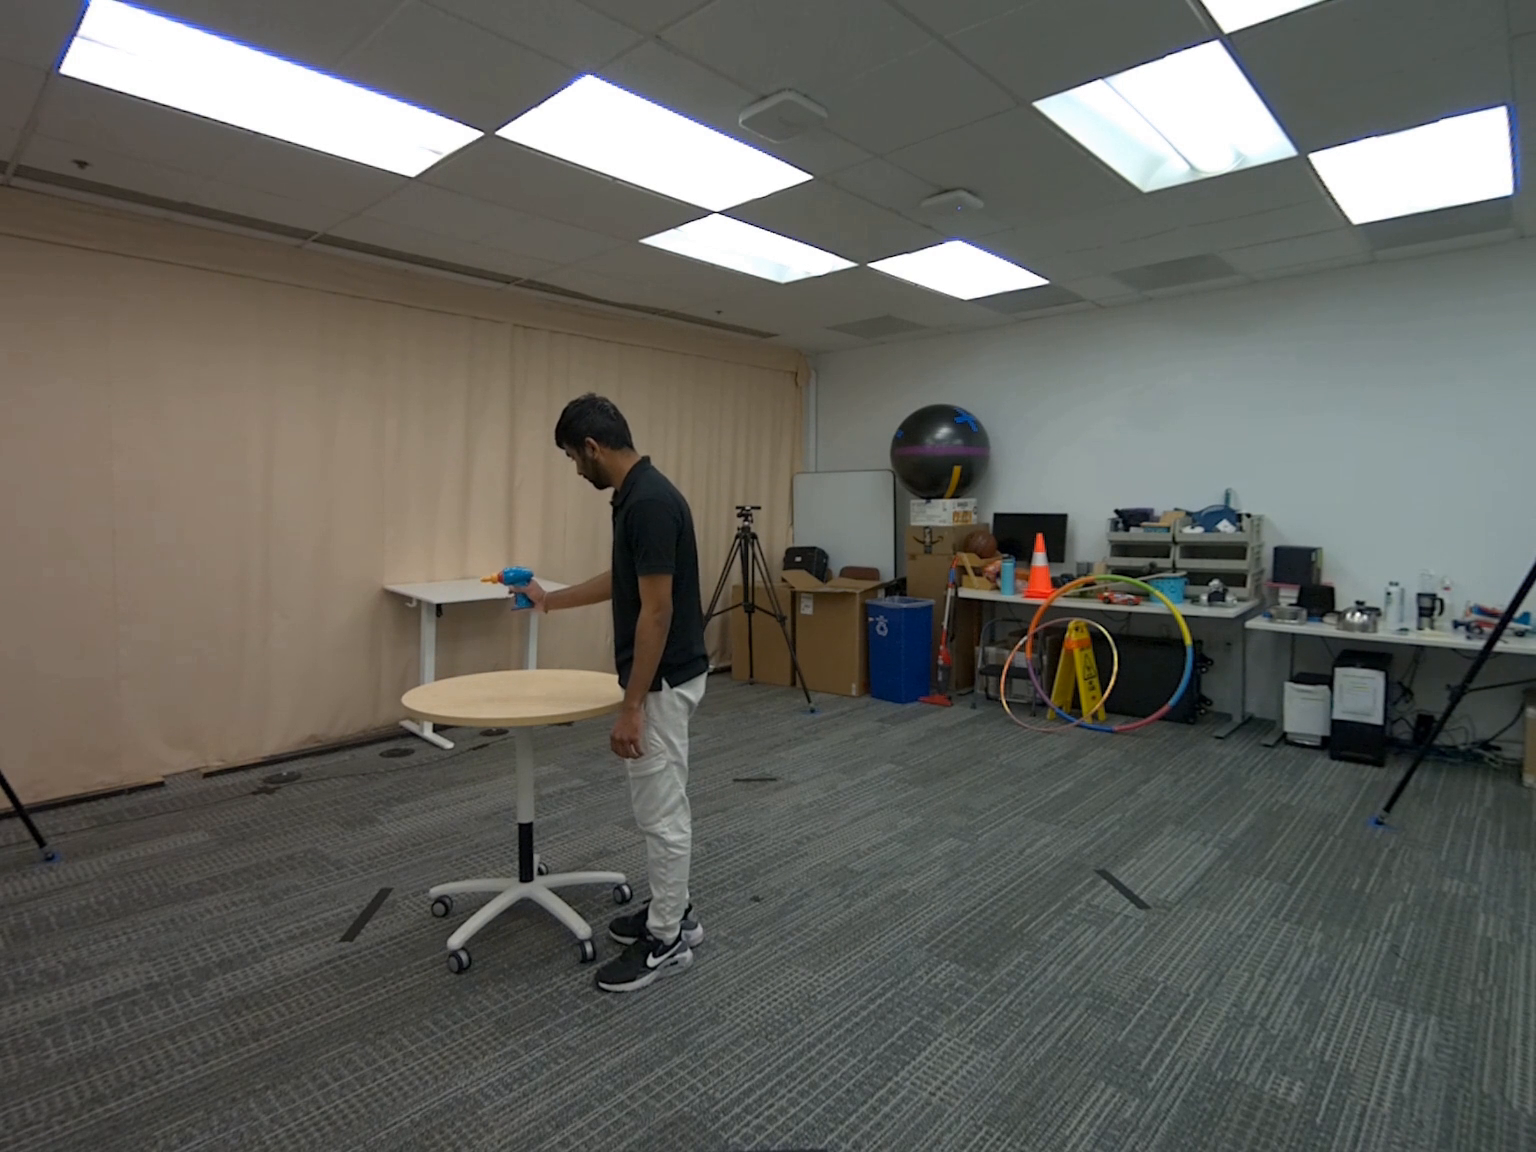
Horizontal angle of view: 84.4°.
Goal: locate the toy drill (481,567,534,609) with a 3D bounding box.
[{"bbox_3d":[-0.838,0.046,2.754,0.168,0.146,0.061,-8,-4,-12],"label":"toy drill"}]
